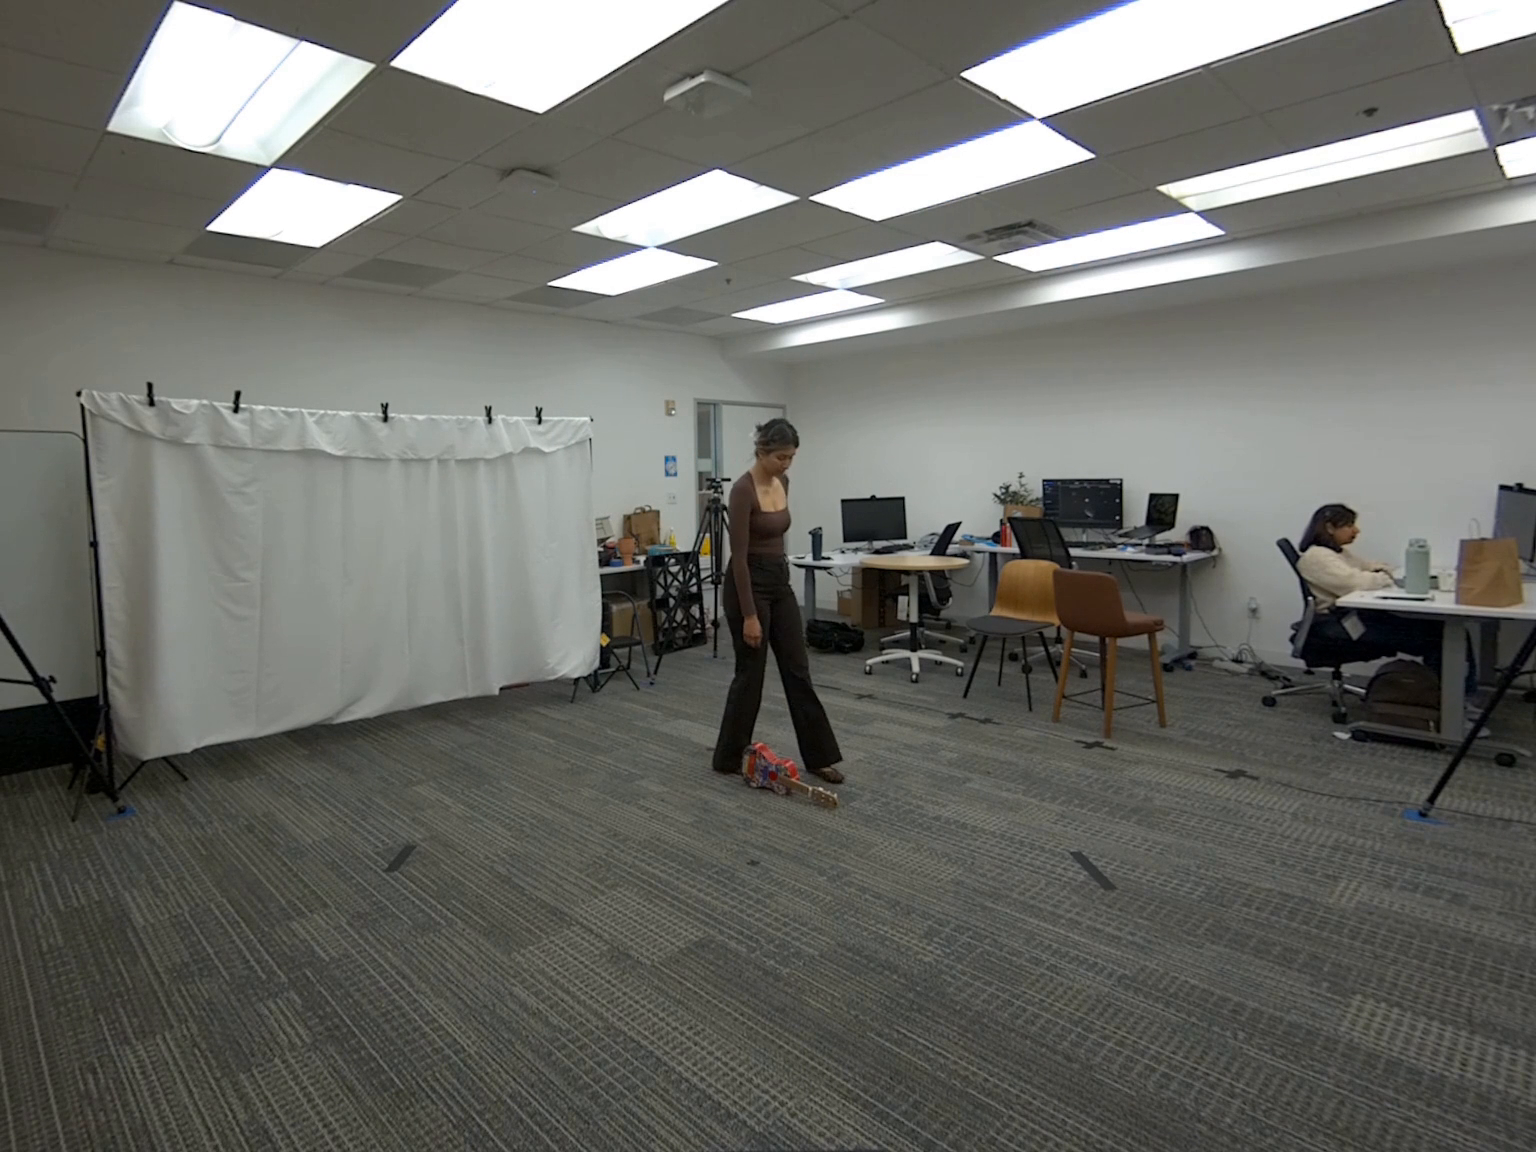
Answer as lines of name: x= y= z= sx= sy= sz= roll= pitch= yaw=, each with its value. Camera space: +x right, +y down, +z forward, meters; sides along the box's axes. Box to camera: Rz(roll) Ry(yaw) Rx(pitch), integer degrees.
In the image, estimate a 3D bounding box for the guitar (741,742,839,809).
guitar: x=0.093 y=0.926 z=3.768 sx=0.515 sy=0.191 sz=0.069 roll=25 pitch=19 yaw=33
